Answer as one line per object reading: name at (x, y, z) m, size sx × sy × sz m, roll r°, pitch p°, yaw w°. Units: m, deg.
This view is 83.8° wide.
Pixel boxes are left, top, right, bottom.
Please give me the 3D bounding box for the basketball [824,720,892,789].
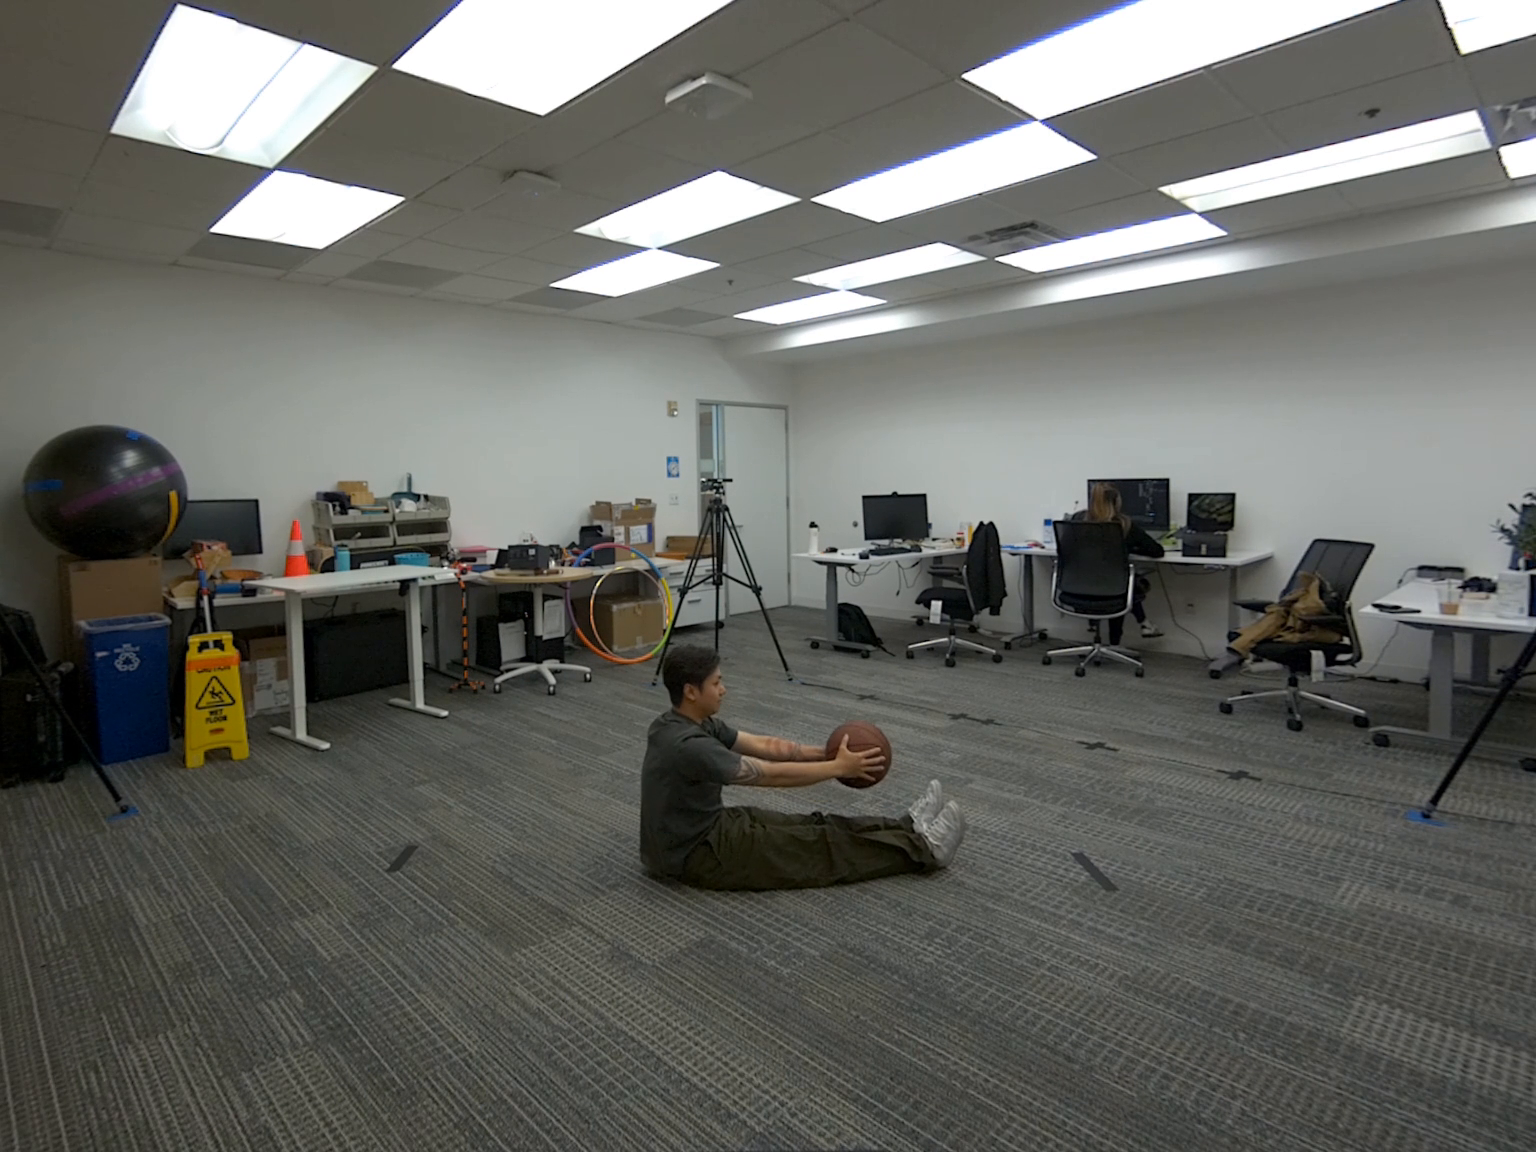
basketball at (0.324, 0.642, 3.093) m, size 0.236 × 0.235 × 0.237 m, roll -1°, pitch 5°, yaw -2°
